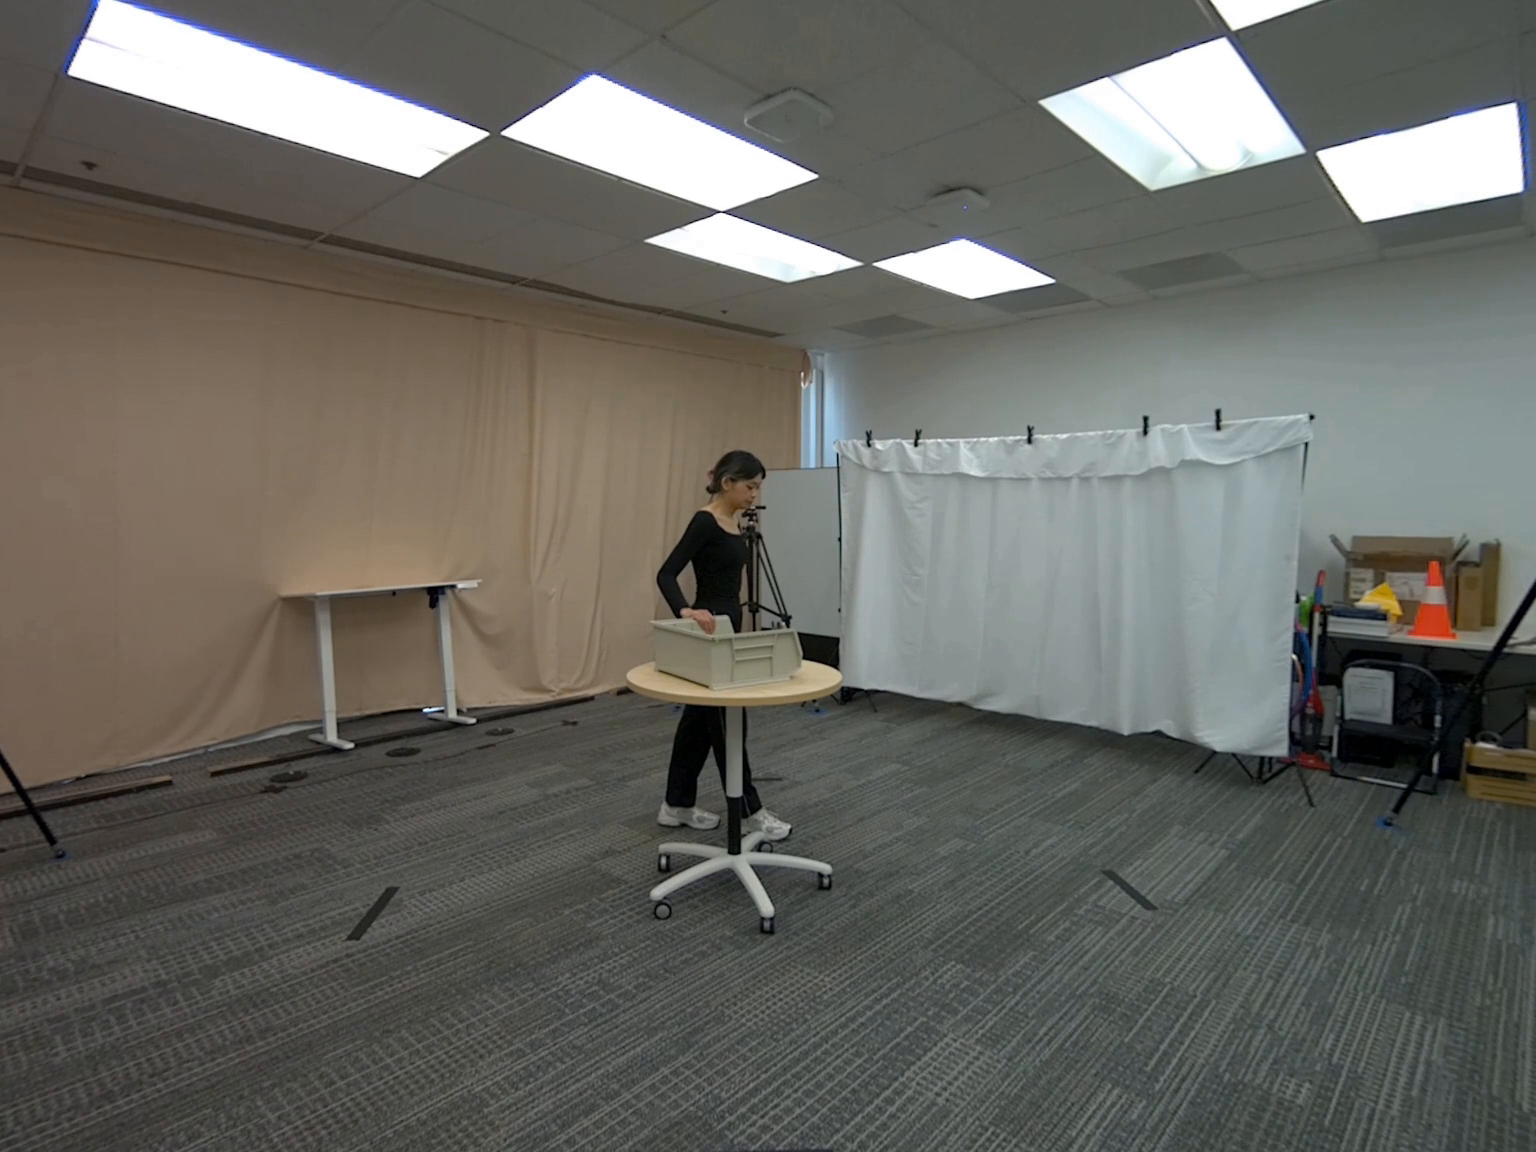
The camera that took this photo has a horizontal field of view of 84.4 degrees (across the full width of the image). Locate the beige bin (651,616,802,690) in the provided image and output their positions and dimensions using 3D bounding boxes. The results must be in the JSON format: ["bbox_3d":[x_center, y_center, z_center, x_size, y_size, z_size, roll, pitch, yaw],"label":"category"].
[{"bbox_3d":[-0.152,0.262,2.988,0.366,0.188,0.436,-4,7,-35],"label":"beige bin"}]
